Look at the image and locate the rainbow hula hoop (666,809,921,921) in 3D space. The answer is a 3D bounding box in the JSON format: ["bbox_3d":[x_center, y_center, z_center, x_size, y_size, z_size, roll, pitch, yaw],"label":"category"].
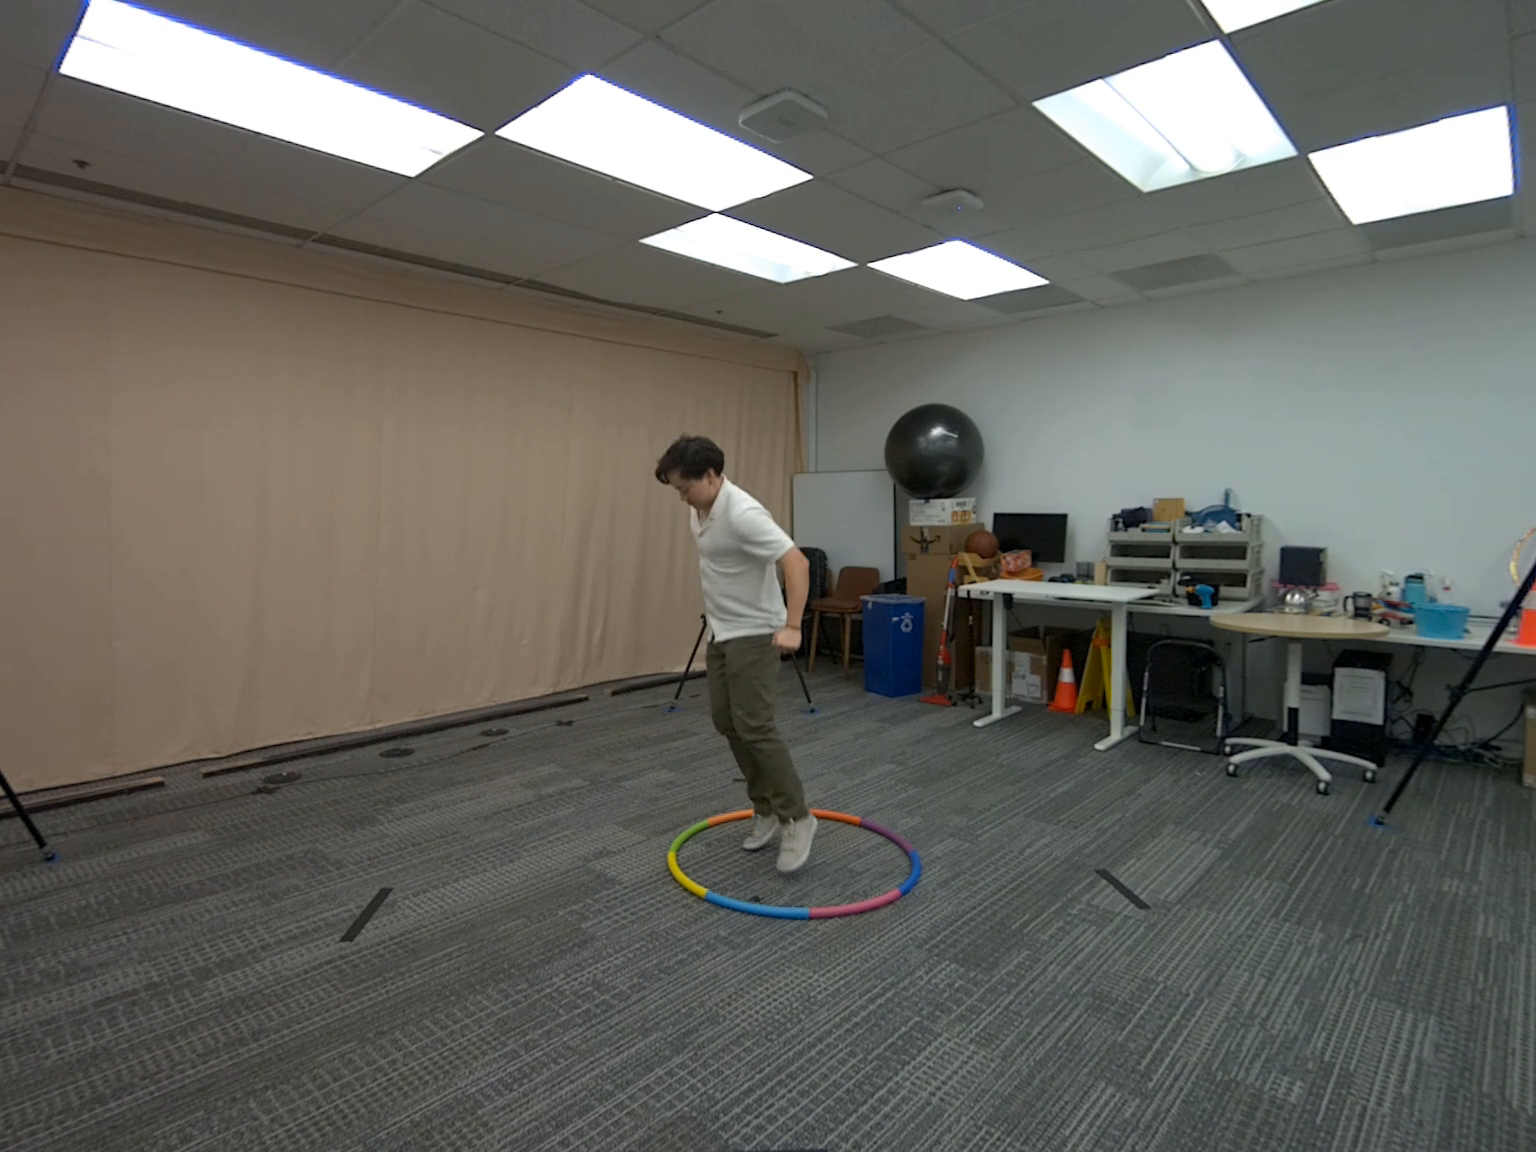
[{"bbox_3d":[0.098,1.088,3.314,0.978,0.035,0.982,0,5,-2],"label":"rainbow hula hoop"}]
